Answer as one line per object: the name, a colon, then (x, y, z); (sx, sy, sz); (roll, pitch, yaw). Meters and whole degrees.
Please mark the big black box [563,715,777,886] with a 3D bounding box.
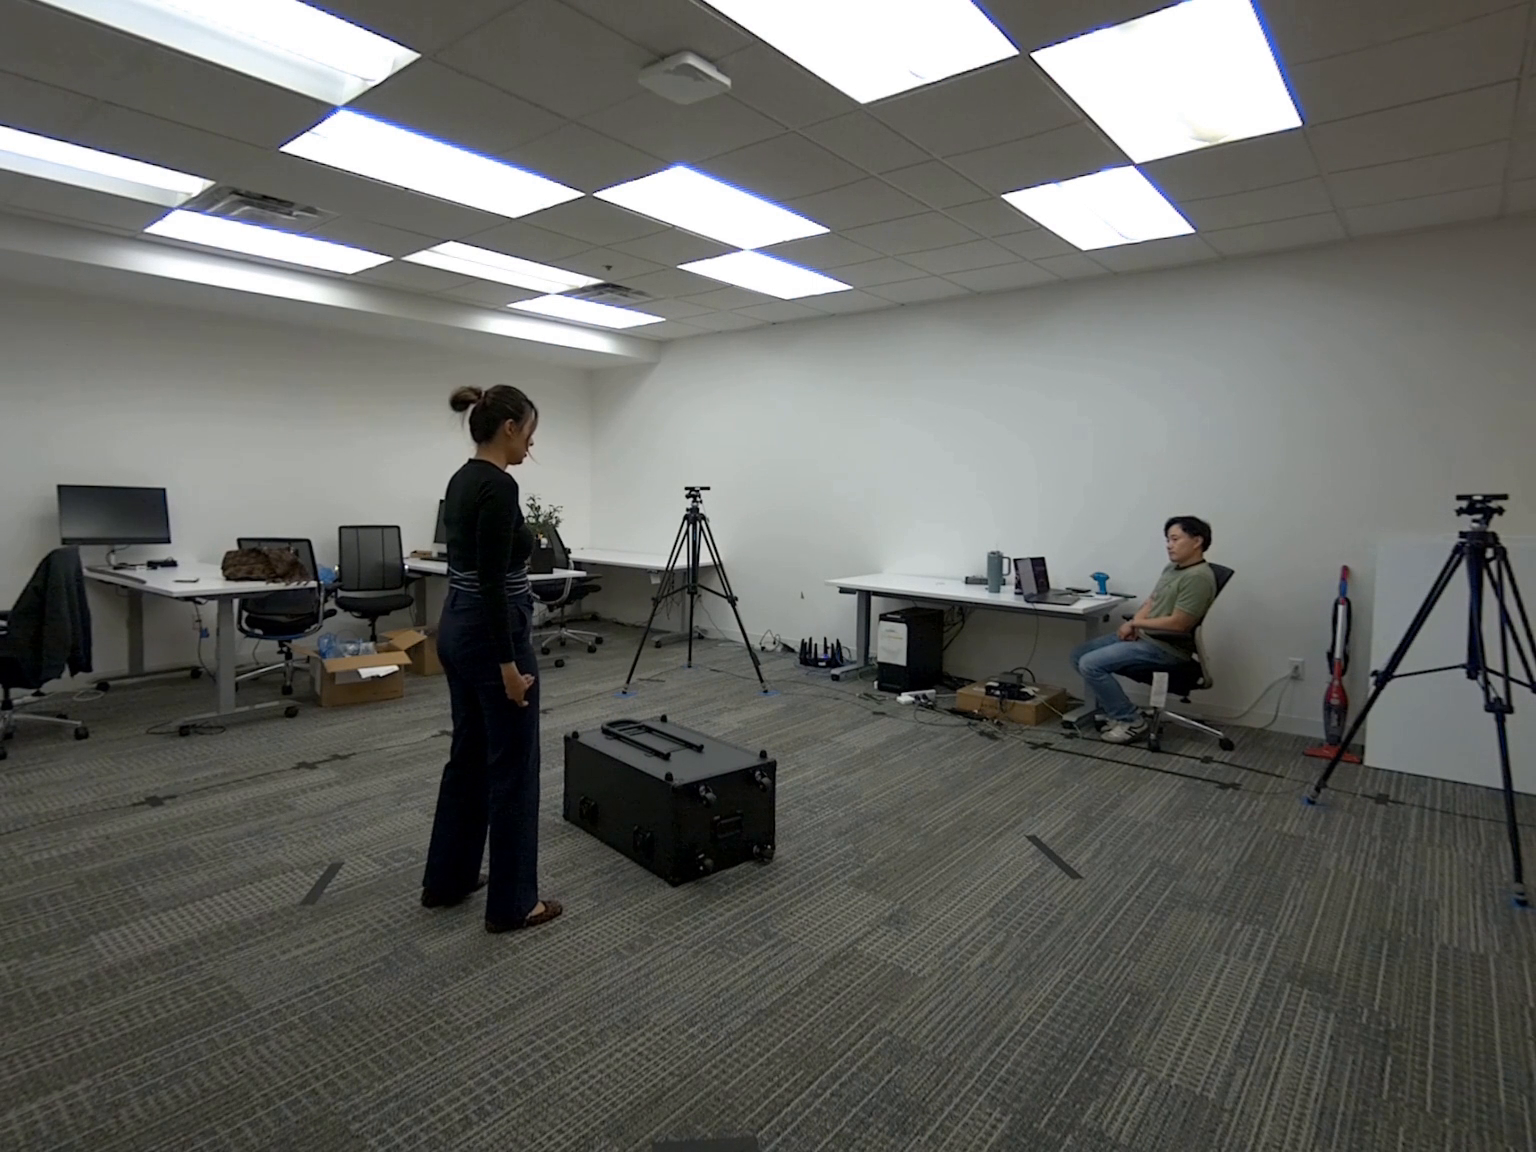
big black box: (-0.439, 0.857, 3.412); (0.506, 0.395, 0.891); (-3, 7, -41)
